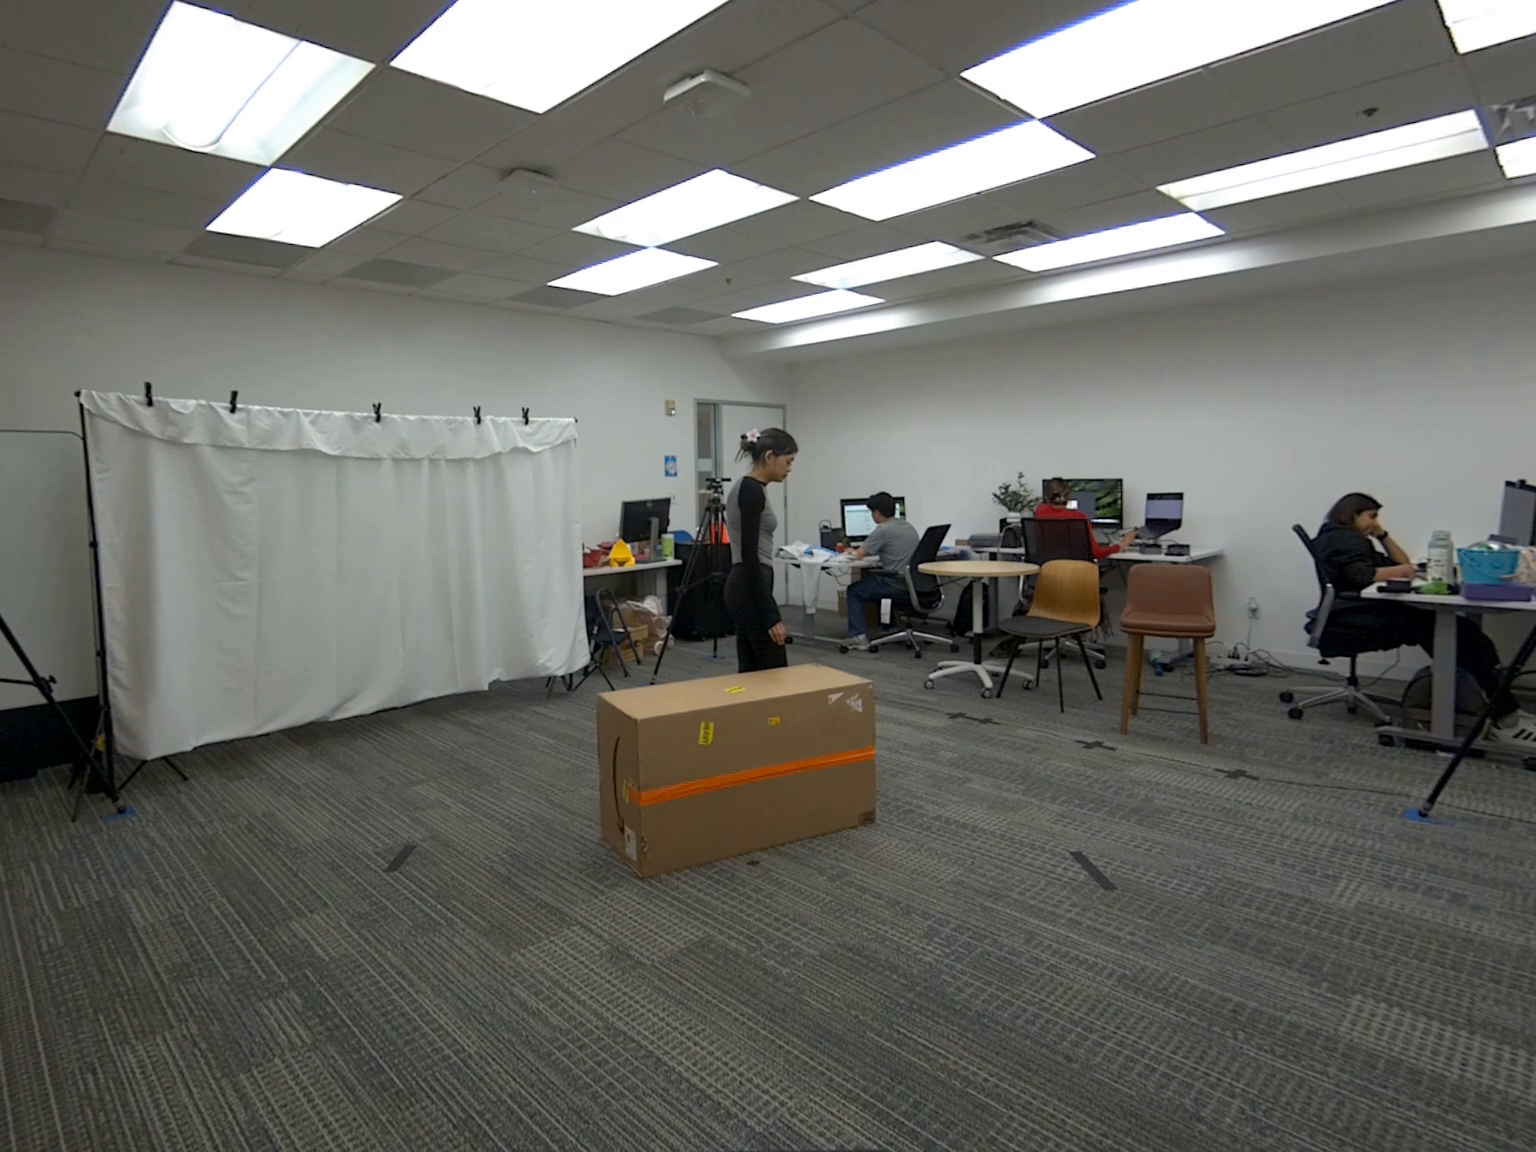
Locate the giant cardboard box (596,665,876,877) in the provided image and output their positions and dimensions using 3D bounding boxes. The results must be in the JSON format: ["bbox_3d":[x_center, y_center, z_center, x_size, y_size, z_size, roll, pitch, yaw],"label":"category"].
[{"bbox_3d":[-0.115,0.725,3.378,1.003,0.575,0.437,-4,5,-28],"label":"giant cardboard box"}]
